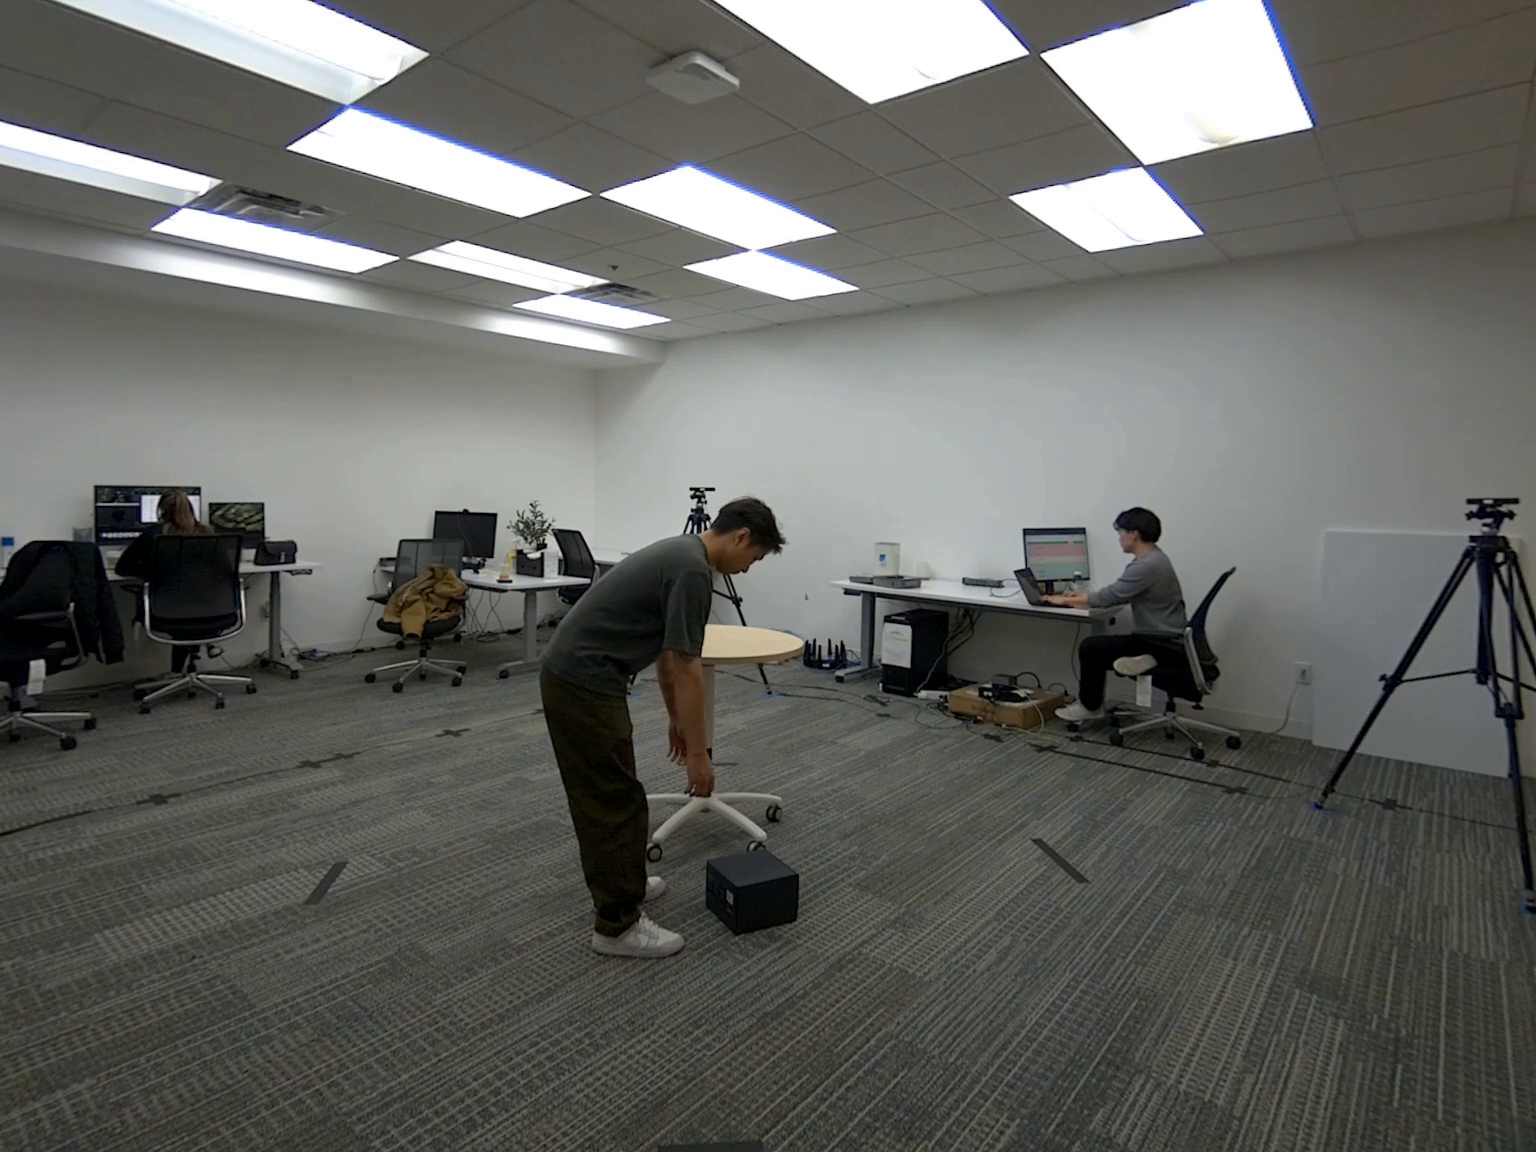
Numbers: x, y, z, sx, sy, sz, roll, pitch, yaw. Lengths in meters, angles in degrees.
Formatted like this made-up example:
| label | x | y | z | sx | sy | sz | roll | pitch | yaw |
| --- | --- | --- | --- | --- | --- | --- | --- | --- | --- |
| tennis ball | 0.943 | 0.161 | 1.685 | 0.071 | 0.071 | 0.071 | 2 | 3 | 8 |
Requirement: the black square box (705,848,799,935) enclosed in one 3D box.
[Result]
| label | x | y | z | sx | sy | sz | roll | pitch | yaw |
| --- | --- | --- | --- | --- | --- | --- | --- | --- | --- |
| black square box | -0.061 | 1.019 | 2.772 | 0.222 | 0.155 | 0.223 | 0 | 4 | -30 |
